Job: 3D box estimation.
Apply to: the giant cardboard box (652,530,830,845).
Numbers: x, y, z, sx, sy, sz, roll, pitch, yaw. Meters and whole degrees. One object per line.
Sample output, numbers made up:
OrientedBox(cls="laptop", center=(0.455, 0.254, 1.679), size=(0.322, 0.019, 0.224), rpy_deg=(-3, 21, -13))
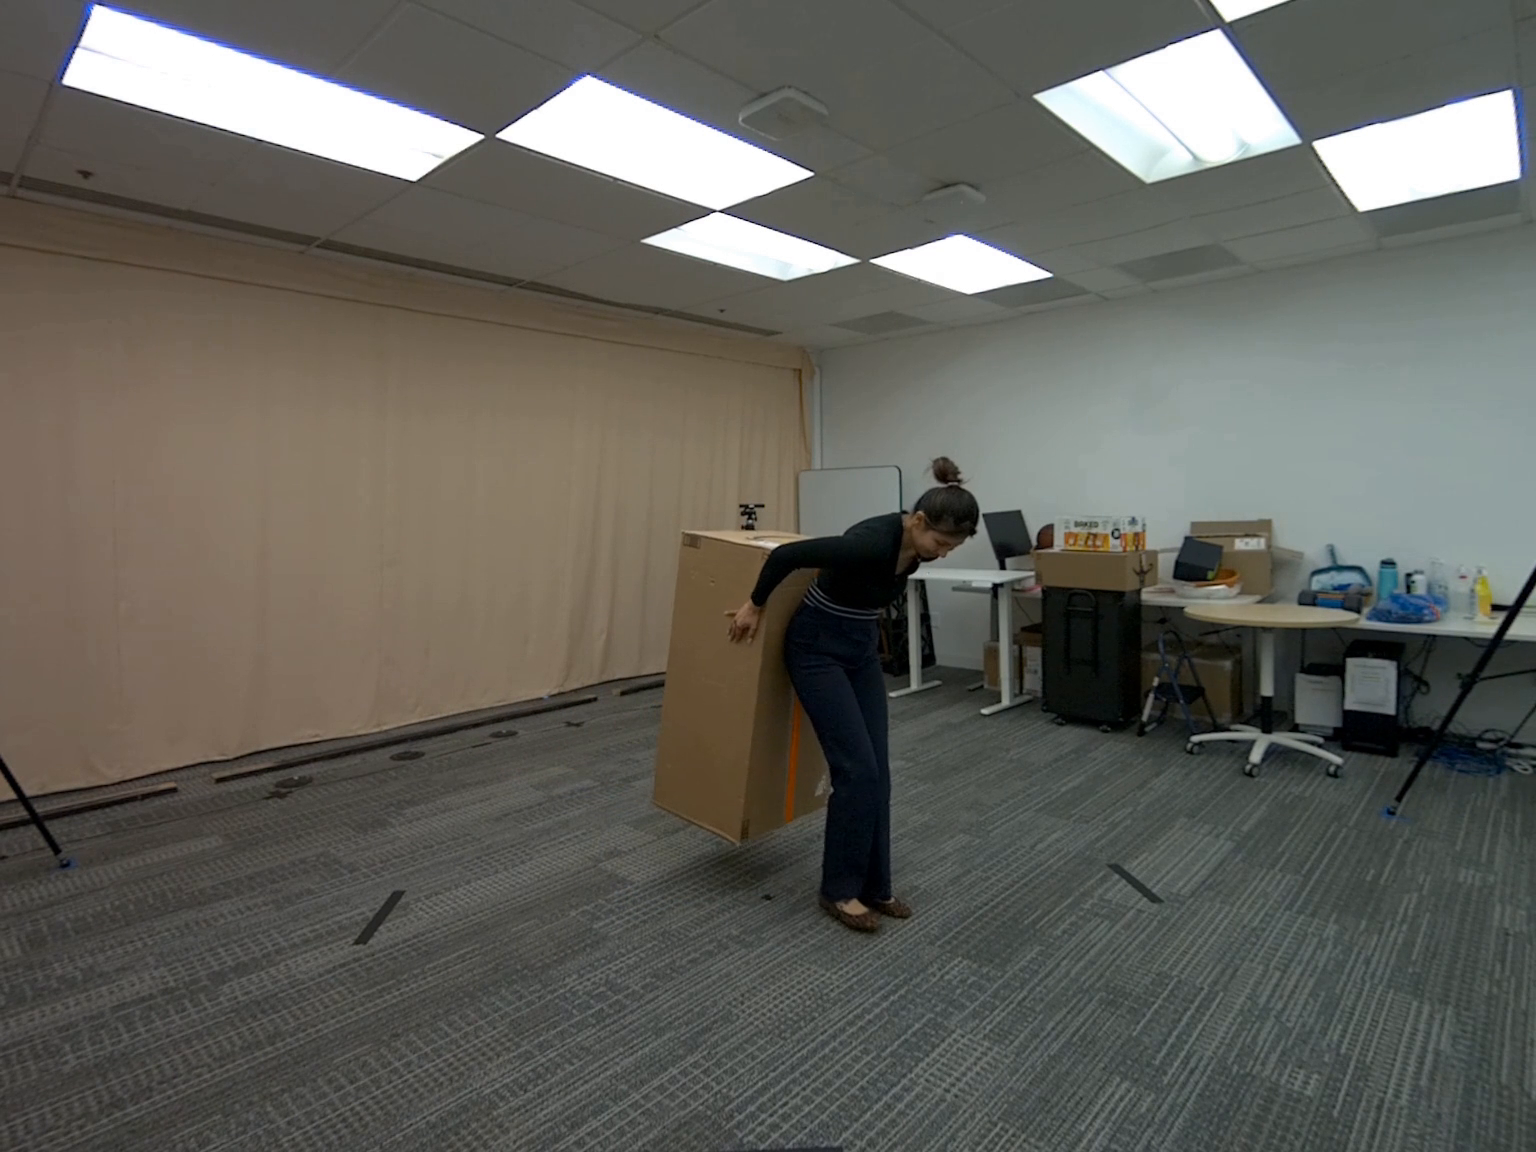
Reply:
OrientedBox(cls="giant cardboard box", center=(-0.046, 0.372, 3.158), size=(0.441, 1.023, 0.560), rpy_deg=(11, 7, 37))
